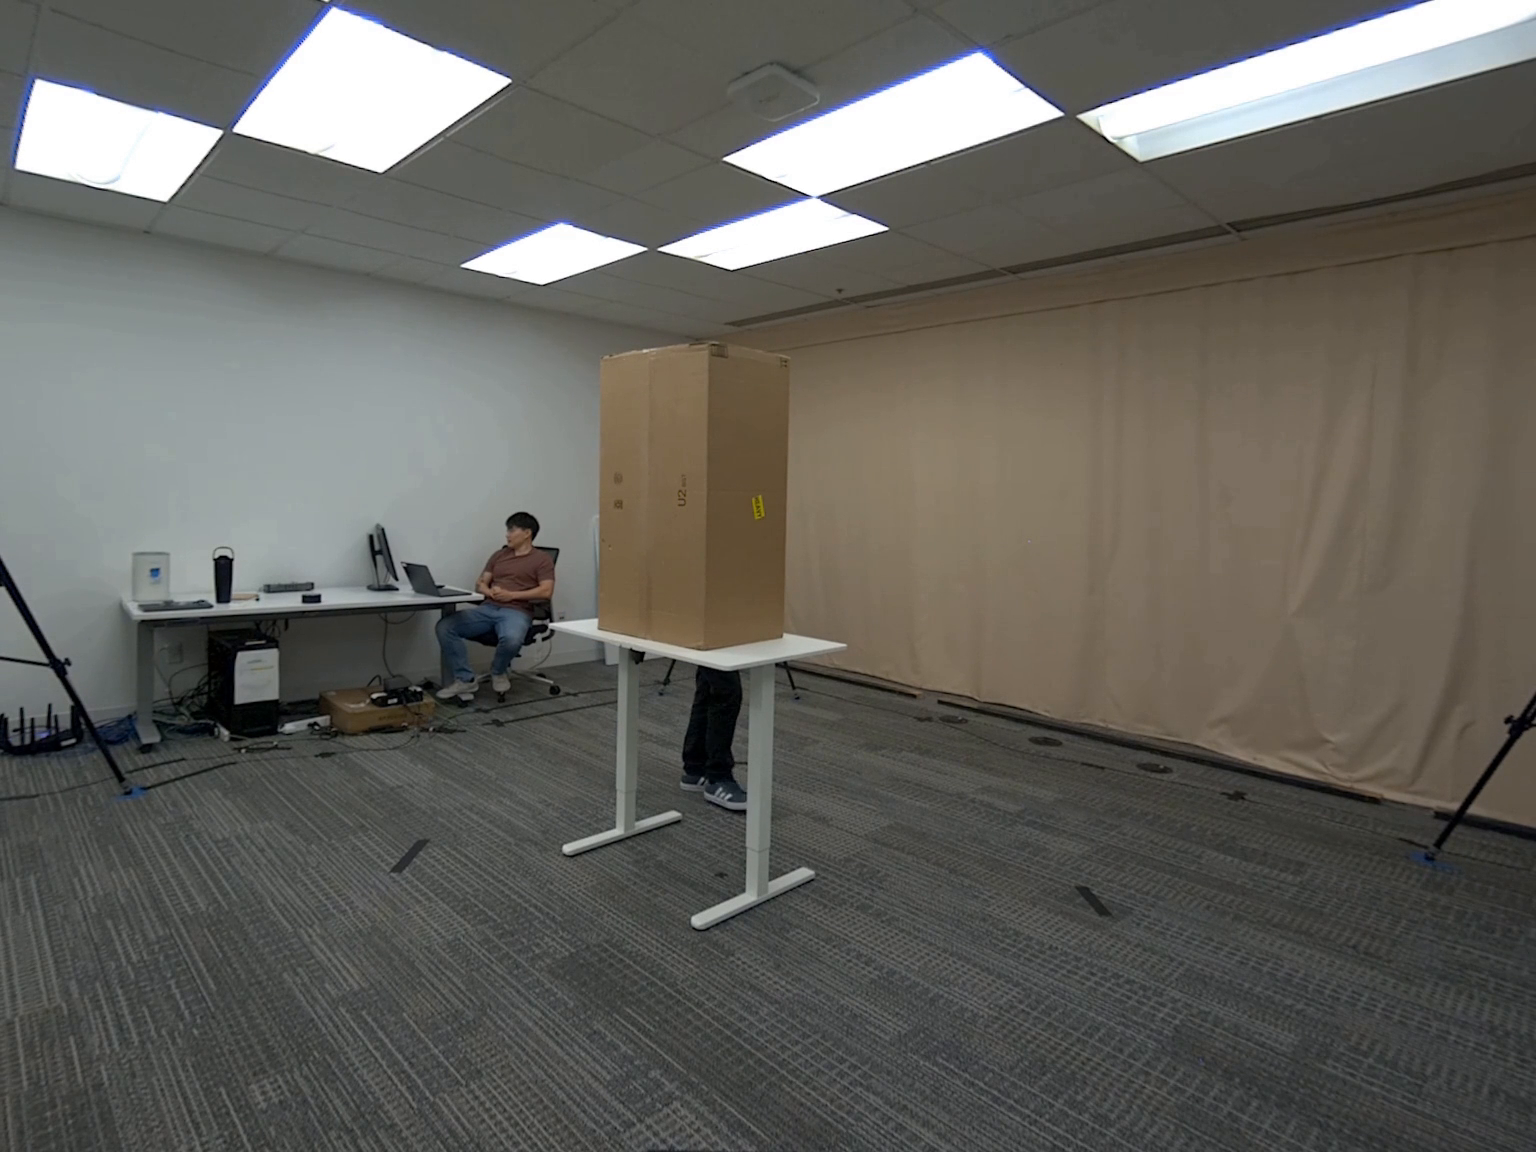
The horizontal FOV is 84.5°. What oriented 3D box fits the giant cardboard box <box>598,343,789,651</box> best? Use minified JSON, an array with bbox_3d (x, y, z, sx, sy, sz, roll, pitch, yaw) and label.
[{"bbox_3d":[-0.284,-0.290,3.107,0.592,1.023,0.416,4,4,43],"label":"giant cardboard box"}]
